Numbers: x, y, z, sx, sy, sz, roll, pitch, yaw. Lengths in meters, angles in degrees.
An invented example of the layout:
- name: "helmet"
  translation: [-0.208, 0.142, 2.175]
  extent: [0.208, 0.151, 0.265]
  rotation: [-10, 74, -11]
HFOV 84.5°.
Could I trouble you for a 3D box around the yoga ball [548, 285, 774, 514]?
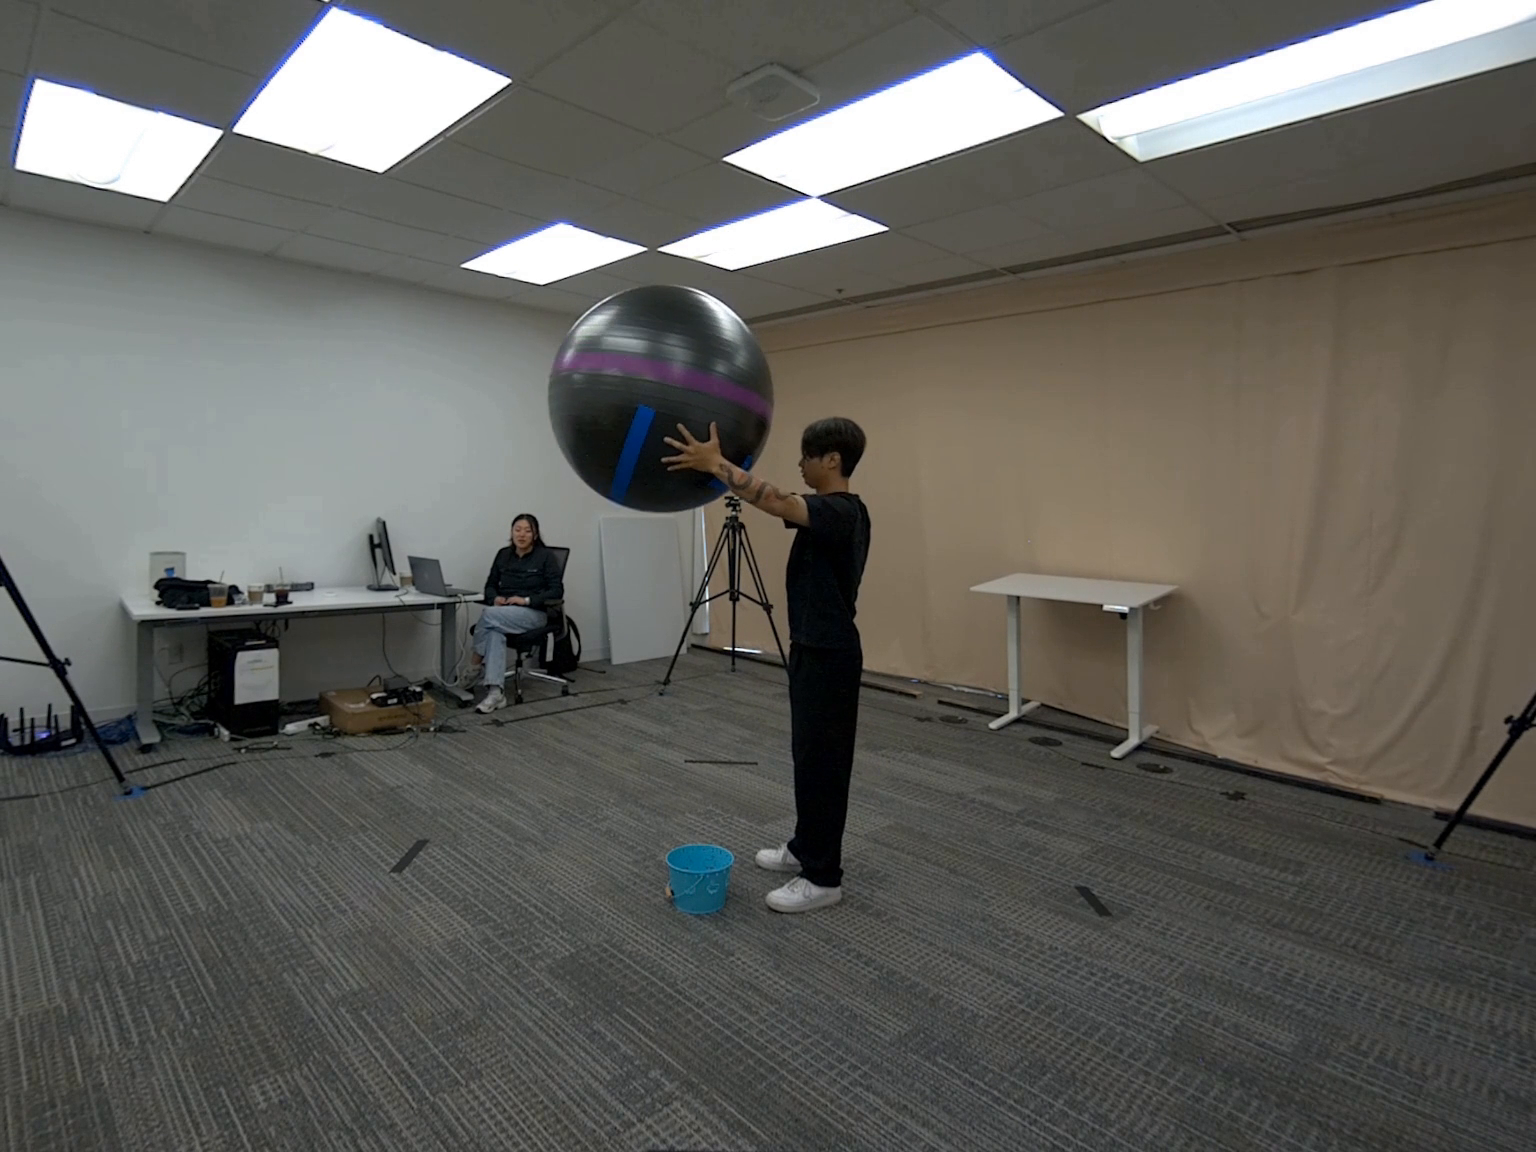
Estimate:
- name: "yoga ball"
  translation: [-0.368, -0.591, 2.877]
  extent: [0.757, 0.756, 0.761]
  rotation: [1, 4, -1]
